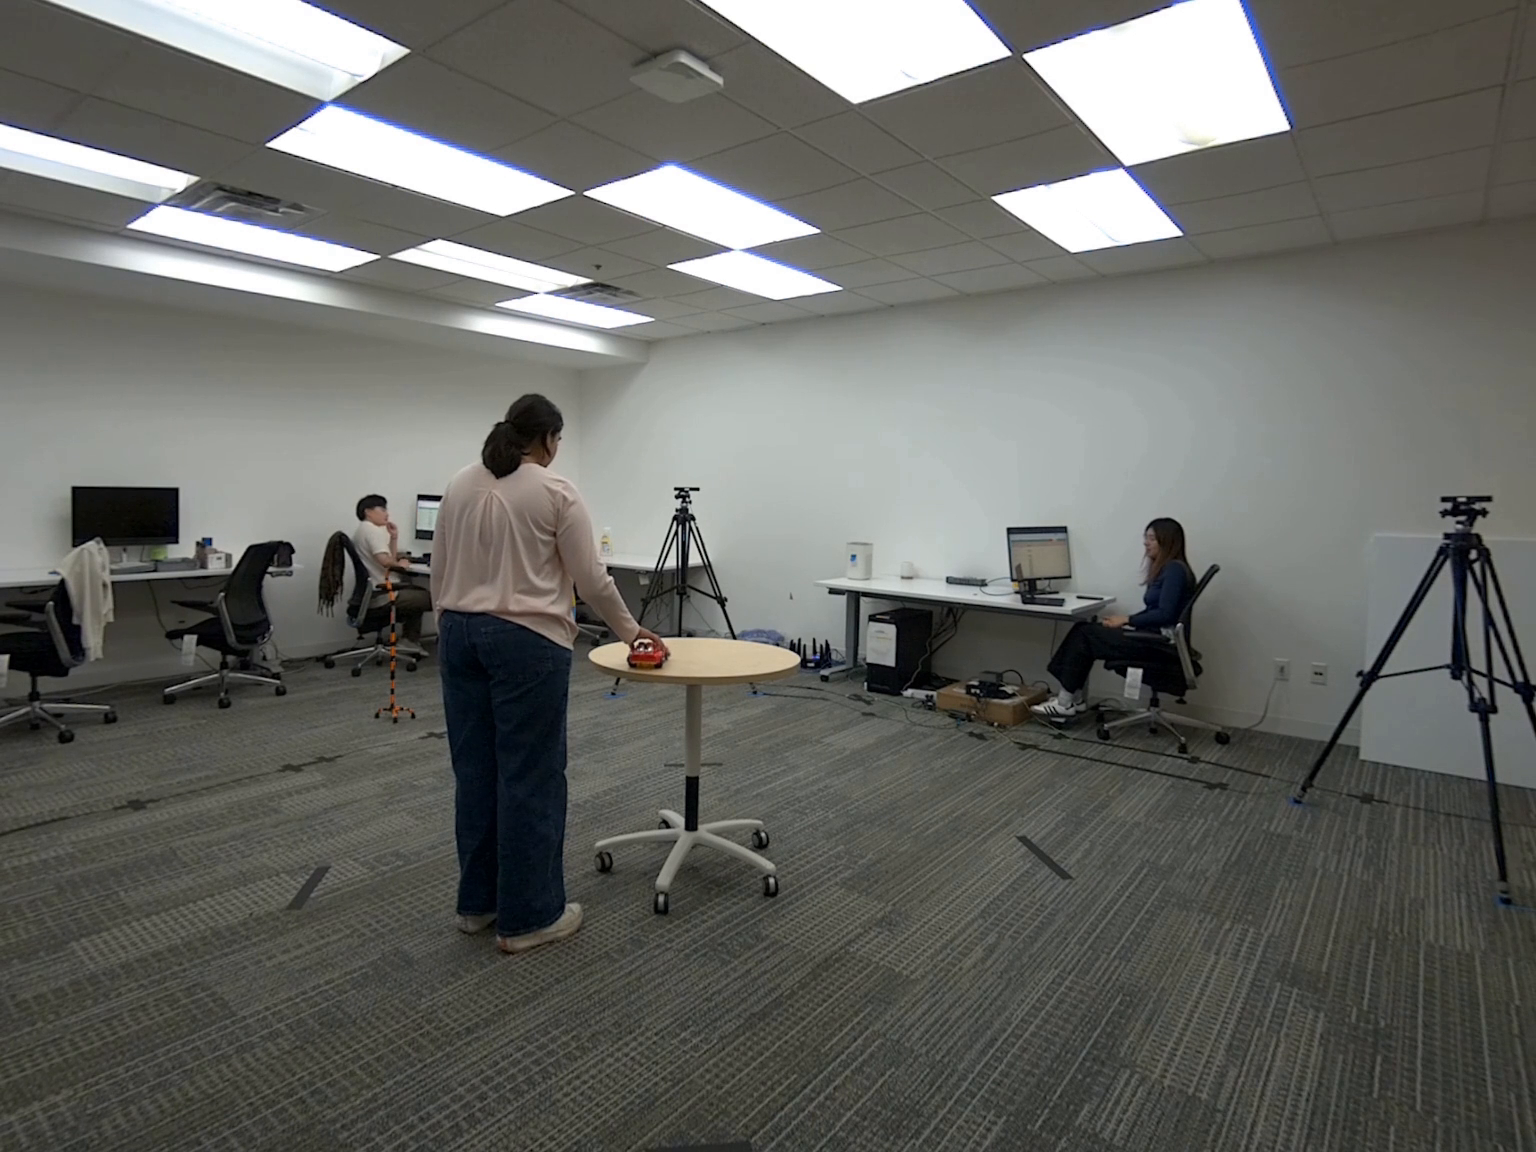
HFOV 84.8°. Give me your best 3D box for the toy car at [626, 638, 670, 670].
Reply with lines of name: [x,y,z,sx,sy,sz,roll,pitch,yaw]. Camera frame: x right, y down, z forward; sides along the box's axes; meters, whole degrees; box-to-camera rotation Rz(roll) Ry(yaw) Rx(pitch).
toy car: [-0.414,0.266,2.899,0.130,0.084,0.253,1,-6,-2]
